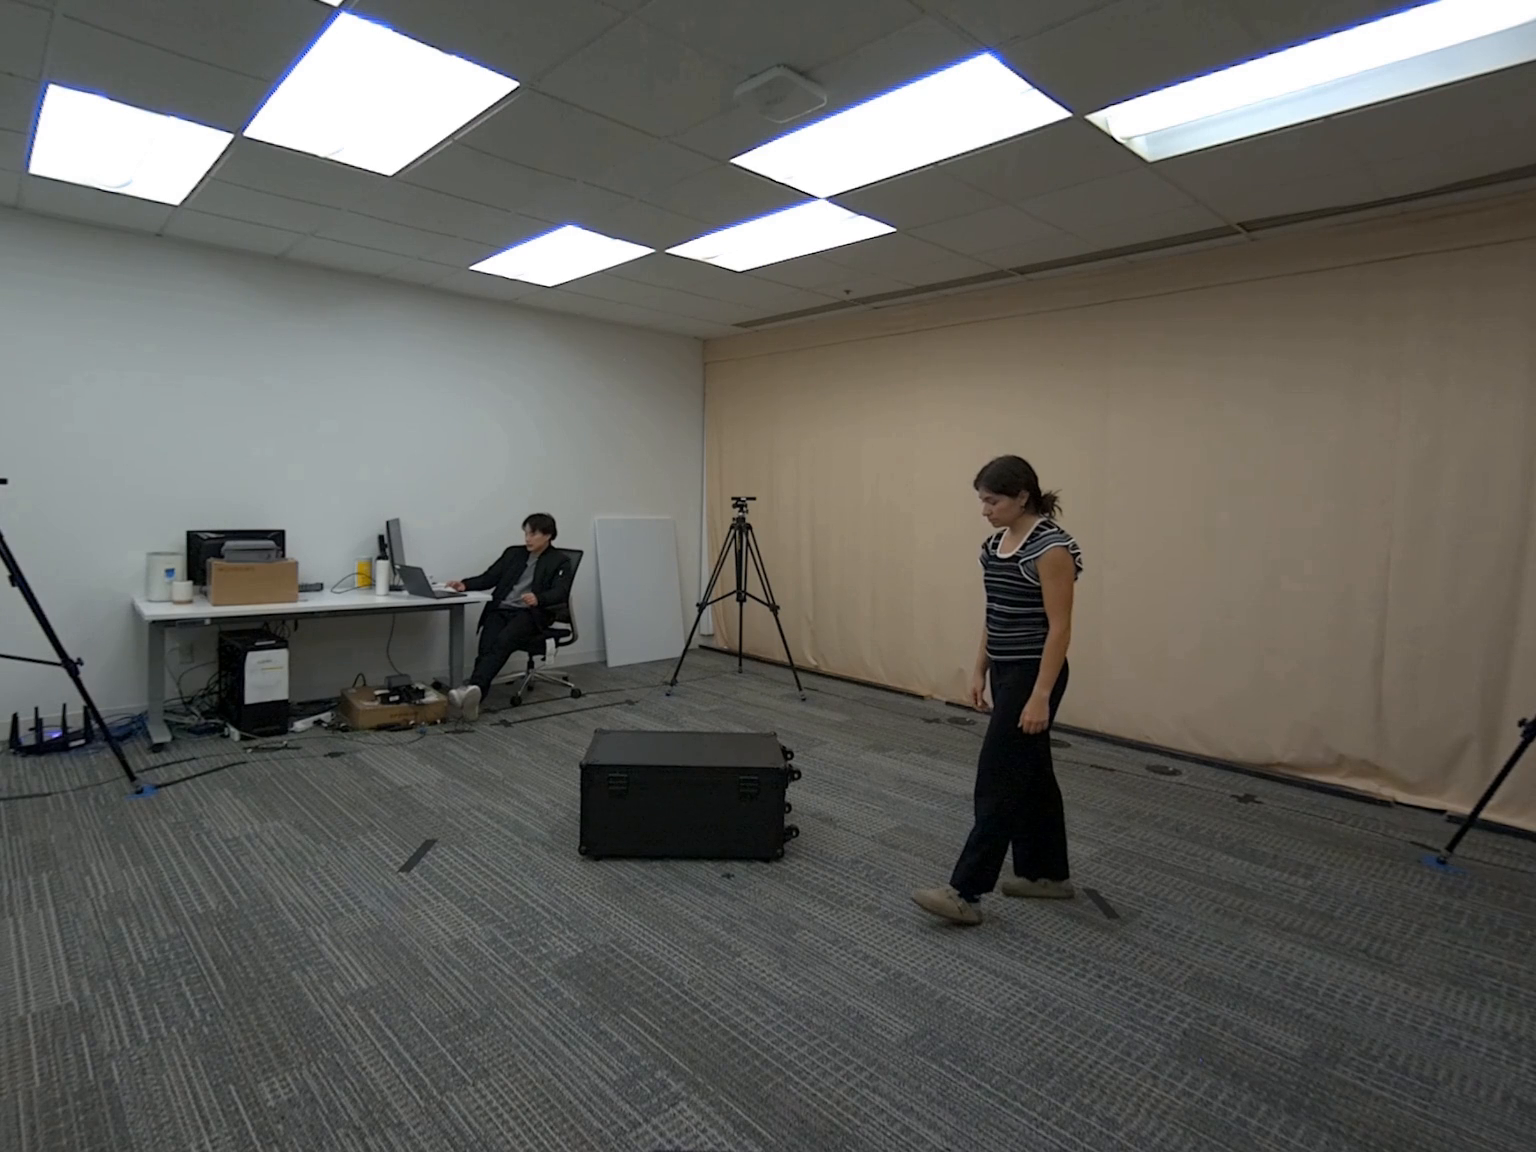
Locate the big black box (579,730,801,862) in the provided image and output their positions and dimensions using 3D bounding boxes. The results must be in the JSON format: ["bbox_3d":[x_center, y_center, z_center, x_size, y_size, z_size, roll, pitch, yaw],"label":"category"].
[{"bbox_3d":[-0.315,0.879,3.433,0.859,0.395,0.524,1,4,-3],"label":"big black box"}]
